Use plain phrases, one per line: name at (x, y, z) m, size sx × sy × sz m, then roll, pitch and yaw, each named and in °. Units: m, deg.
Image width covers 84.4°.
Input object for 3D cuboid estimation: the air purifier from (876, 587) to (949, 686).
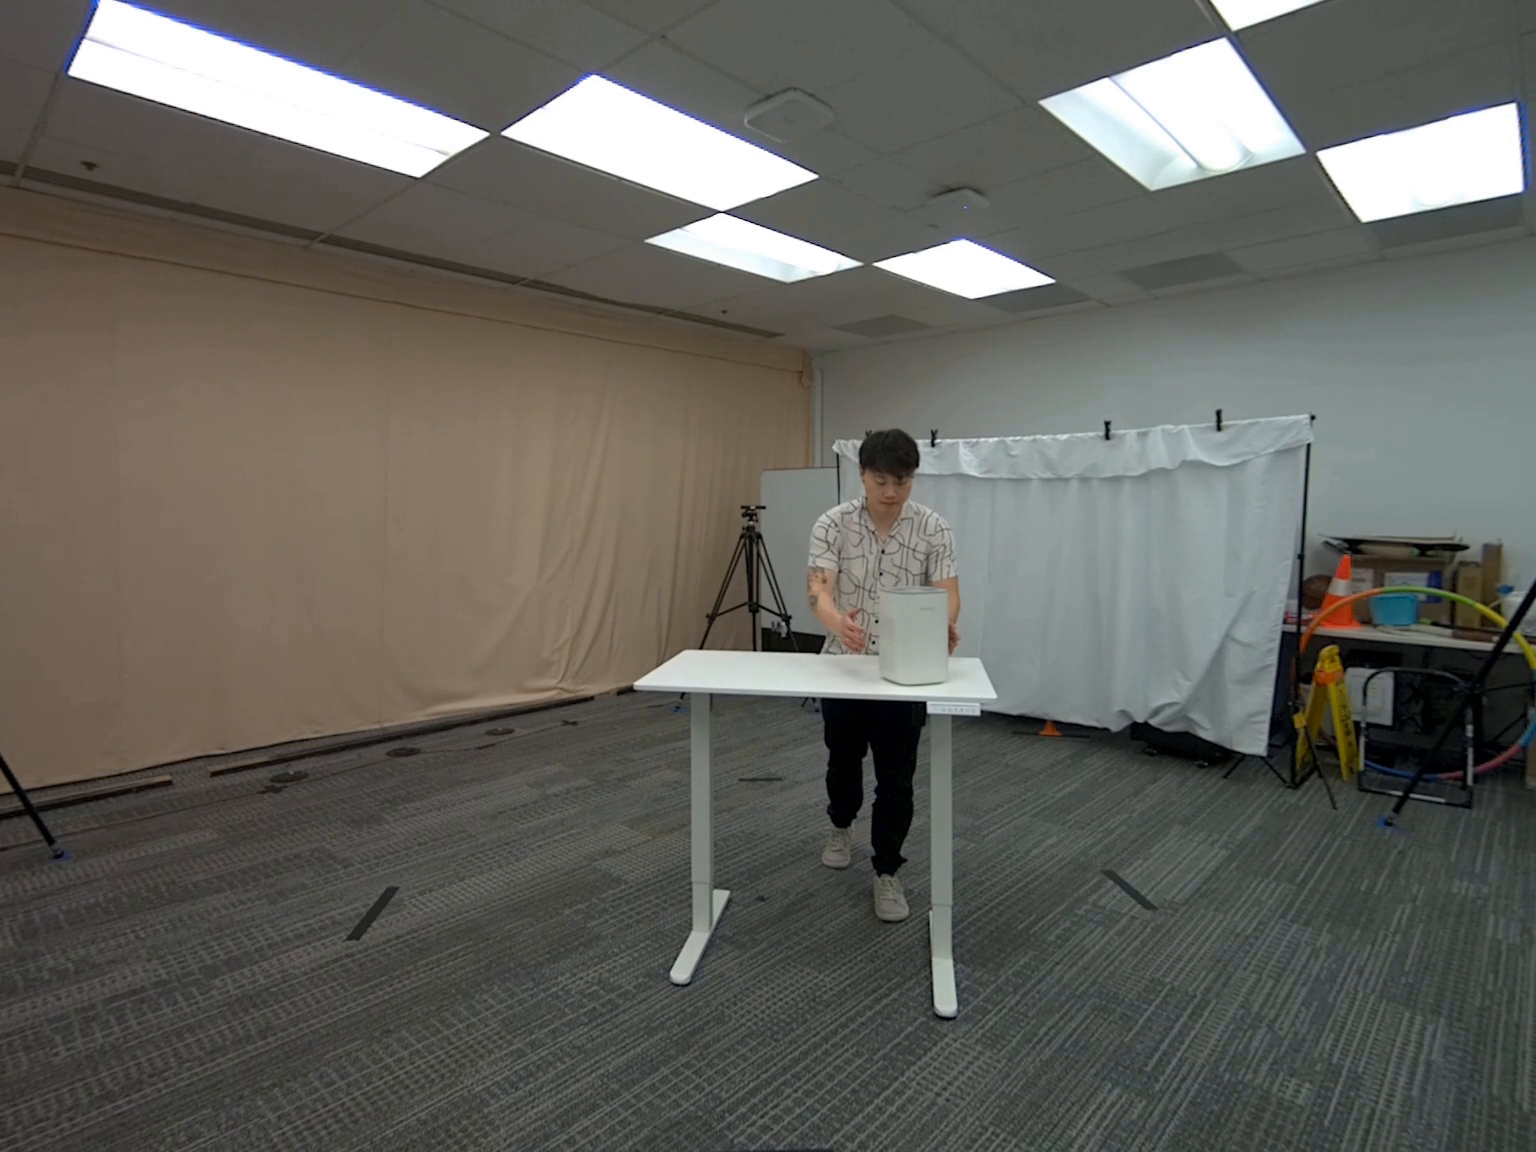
air purifier at (0.421, 0.175, 2.430) m, size 0.168 × 0.264 × 0.175 m, roll -5°, pitch 6°, yaw -17°
